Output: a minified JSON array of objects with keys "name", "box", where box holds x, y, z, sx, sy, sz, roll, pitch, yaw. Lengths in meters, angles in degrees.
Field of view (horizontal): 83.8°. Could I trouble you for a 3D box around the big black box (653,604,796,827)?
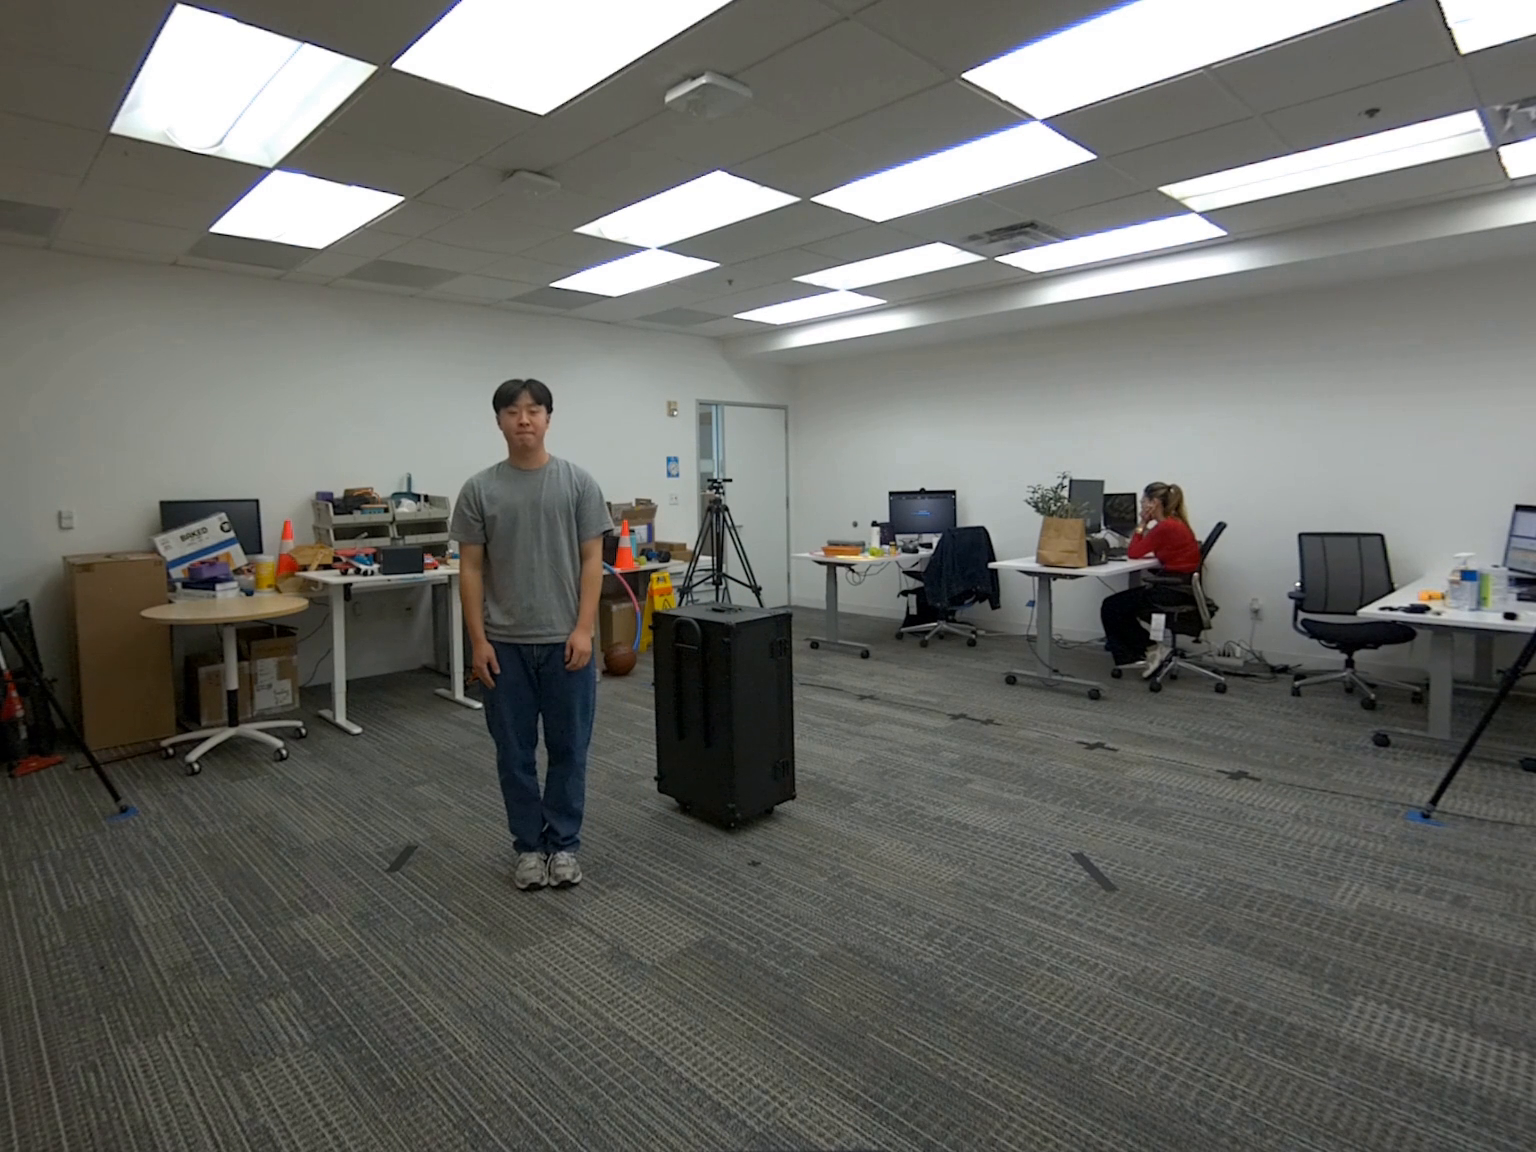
[{"name":"big black box","box":[-0.191,0.571,3.565,0.386,0.858,0.537,-6,6,-44]}]
